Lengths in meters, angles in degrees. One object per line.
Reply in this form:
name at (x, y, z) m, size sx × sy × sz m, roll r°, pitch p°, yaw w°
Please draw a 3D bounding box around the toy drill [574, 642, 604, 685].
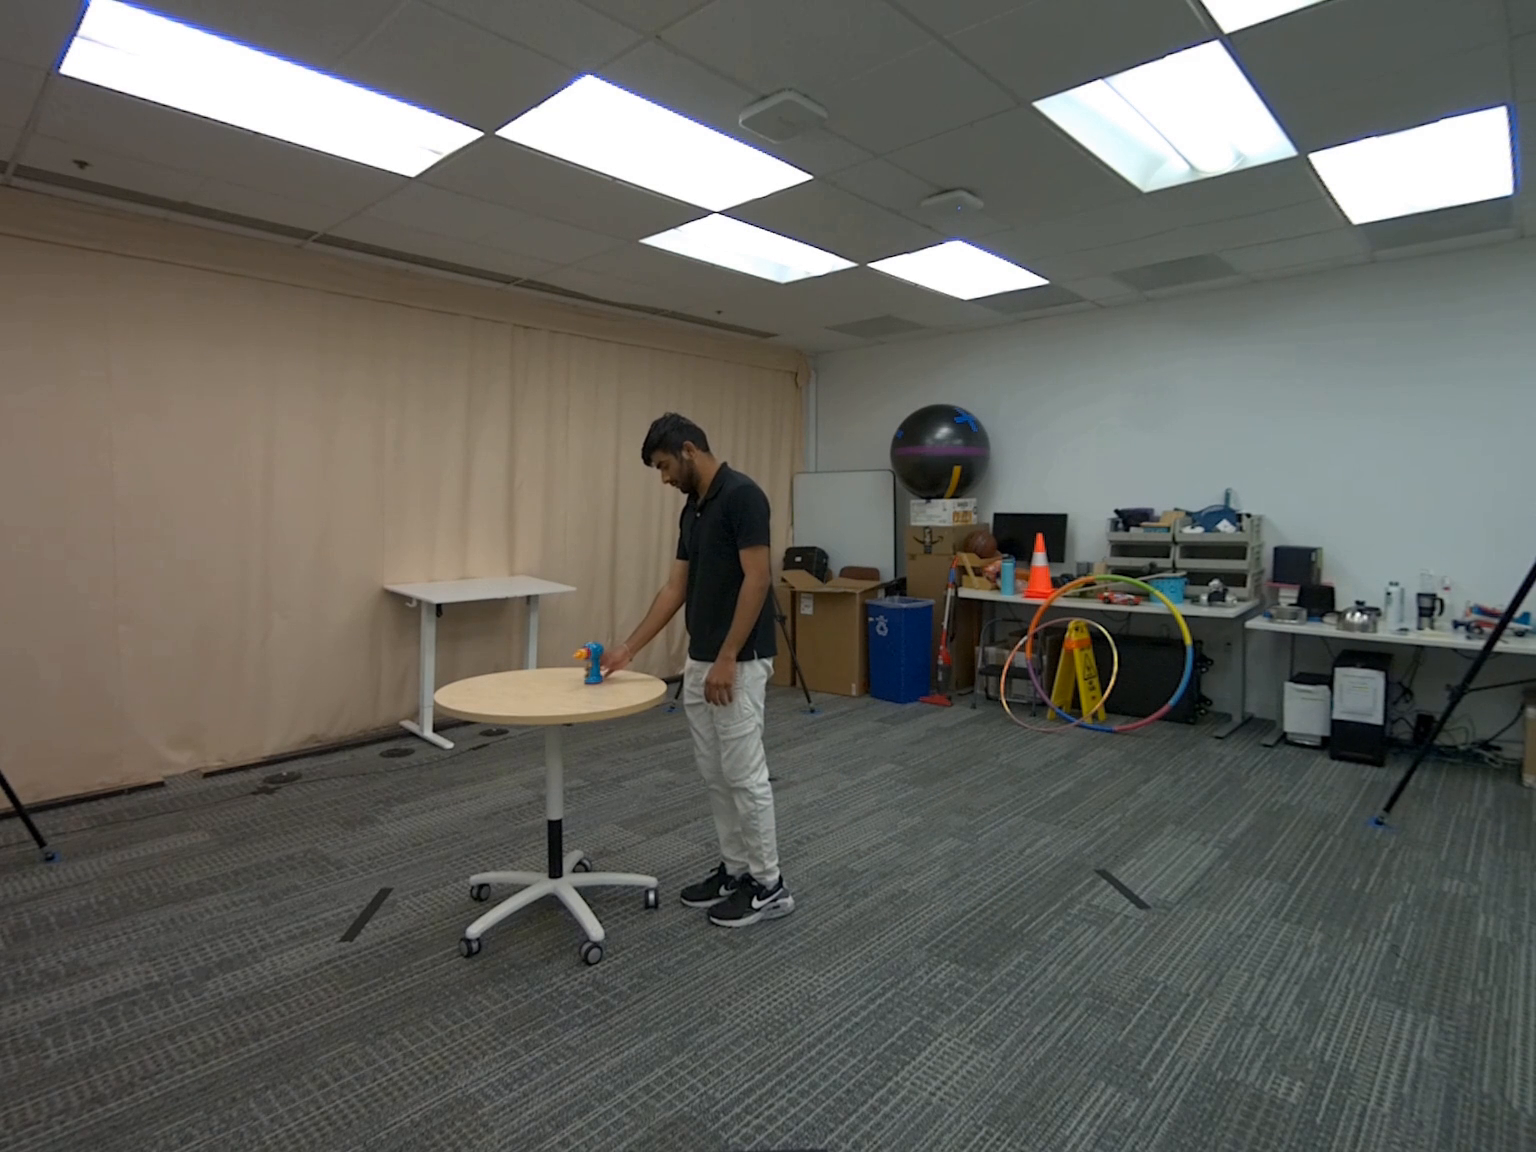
toy drill at (-0.619, 0.302, 2.900) m, size 0.062 × 0.146 × 0.166 m, roll 3°, pitch 4°, yaw 20°
